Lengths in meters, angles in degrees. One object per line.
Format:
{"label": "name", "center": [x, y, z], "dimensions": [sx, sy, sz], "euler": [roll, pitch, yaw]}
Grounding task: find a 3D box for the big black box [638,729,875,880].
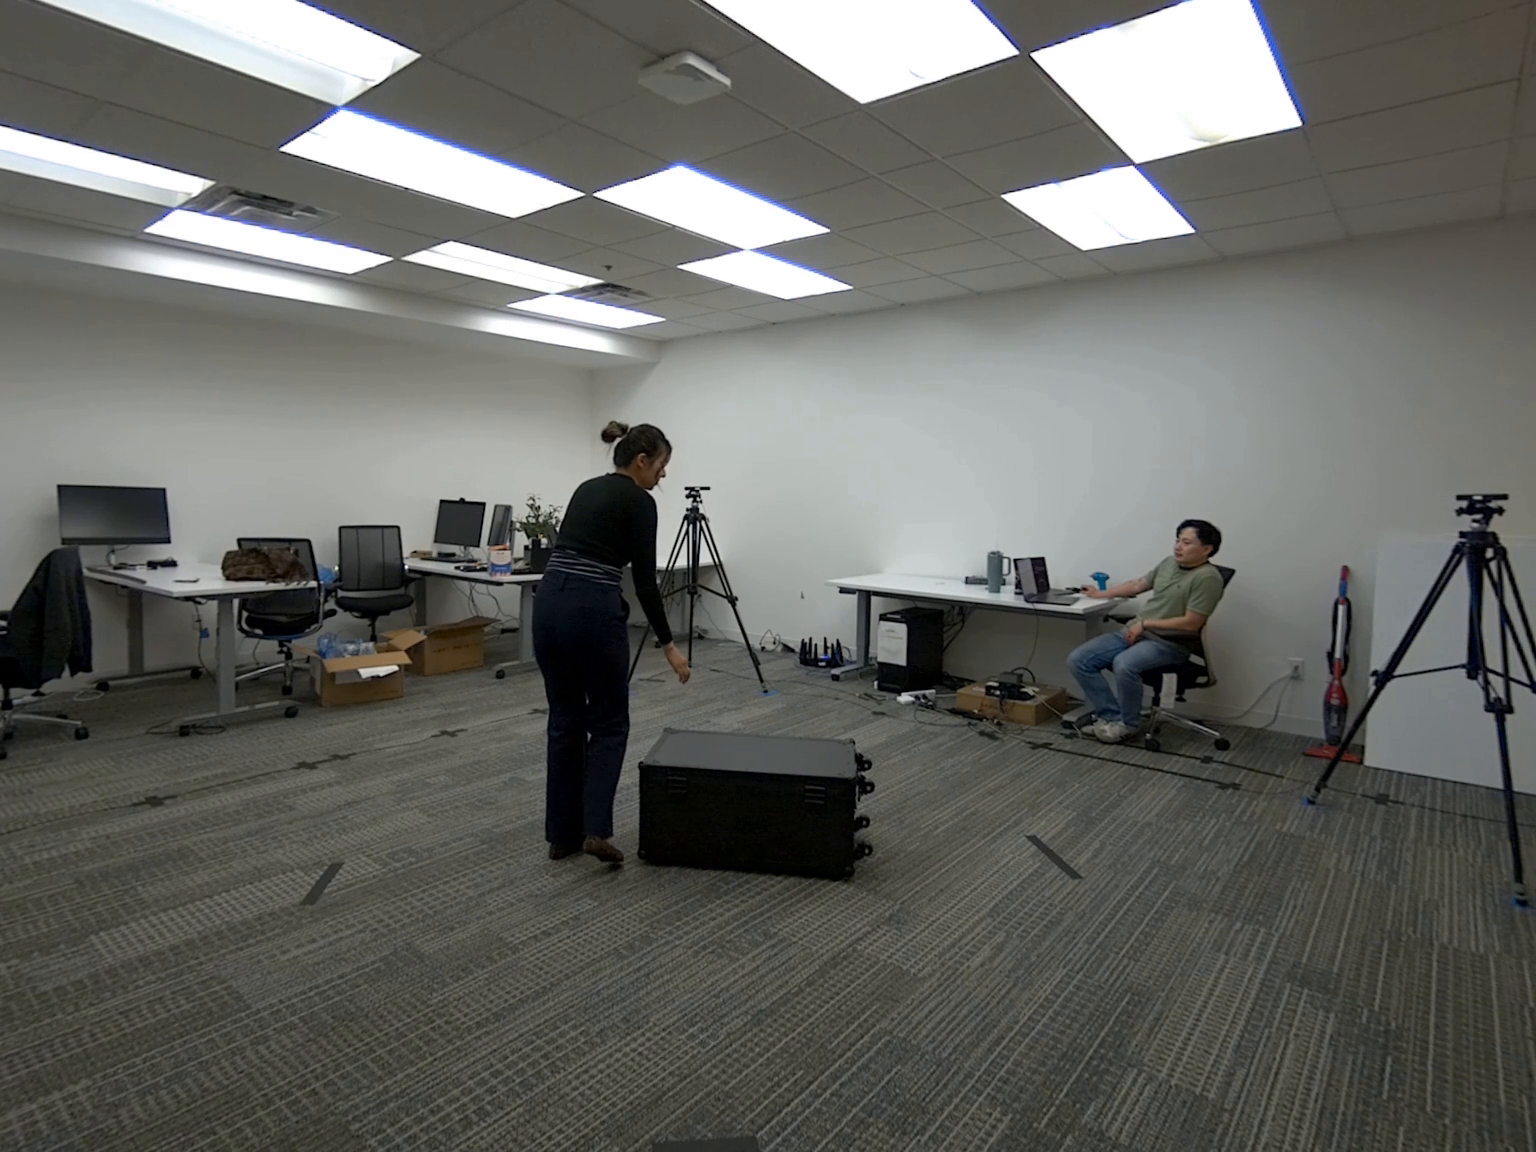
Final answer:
{"label": "big black box", "center": [-0.041, 0.856, 3.278], "dimensions": [0.869, 0.395, 0.518], "euler": [1, 4, 7]}
